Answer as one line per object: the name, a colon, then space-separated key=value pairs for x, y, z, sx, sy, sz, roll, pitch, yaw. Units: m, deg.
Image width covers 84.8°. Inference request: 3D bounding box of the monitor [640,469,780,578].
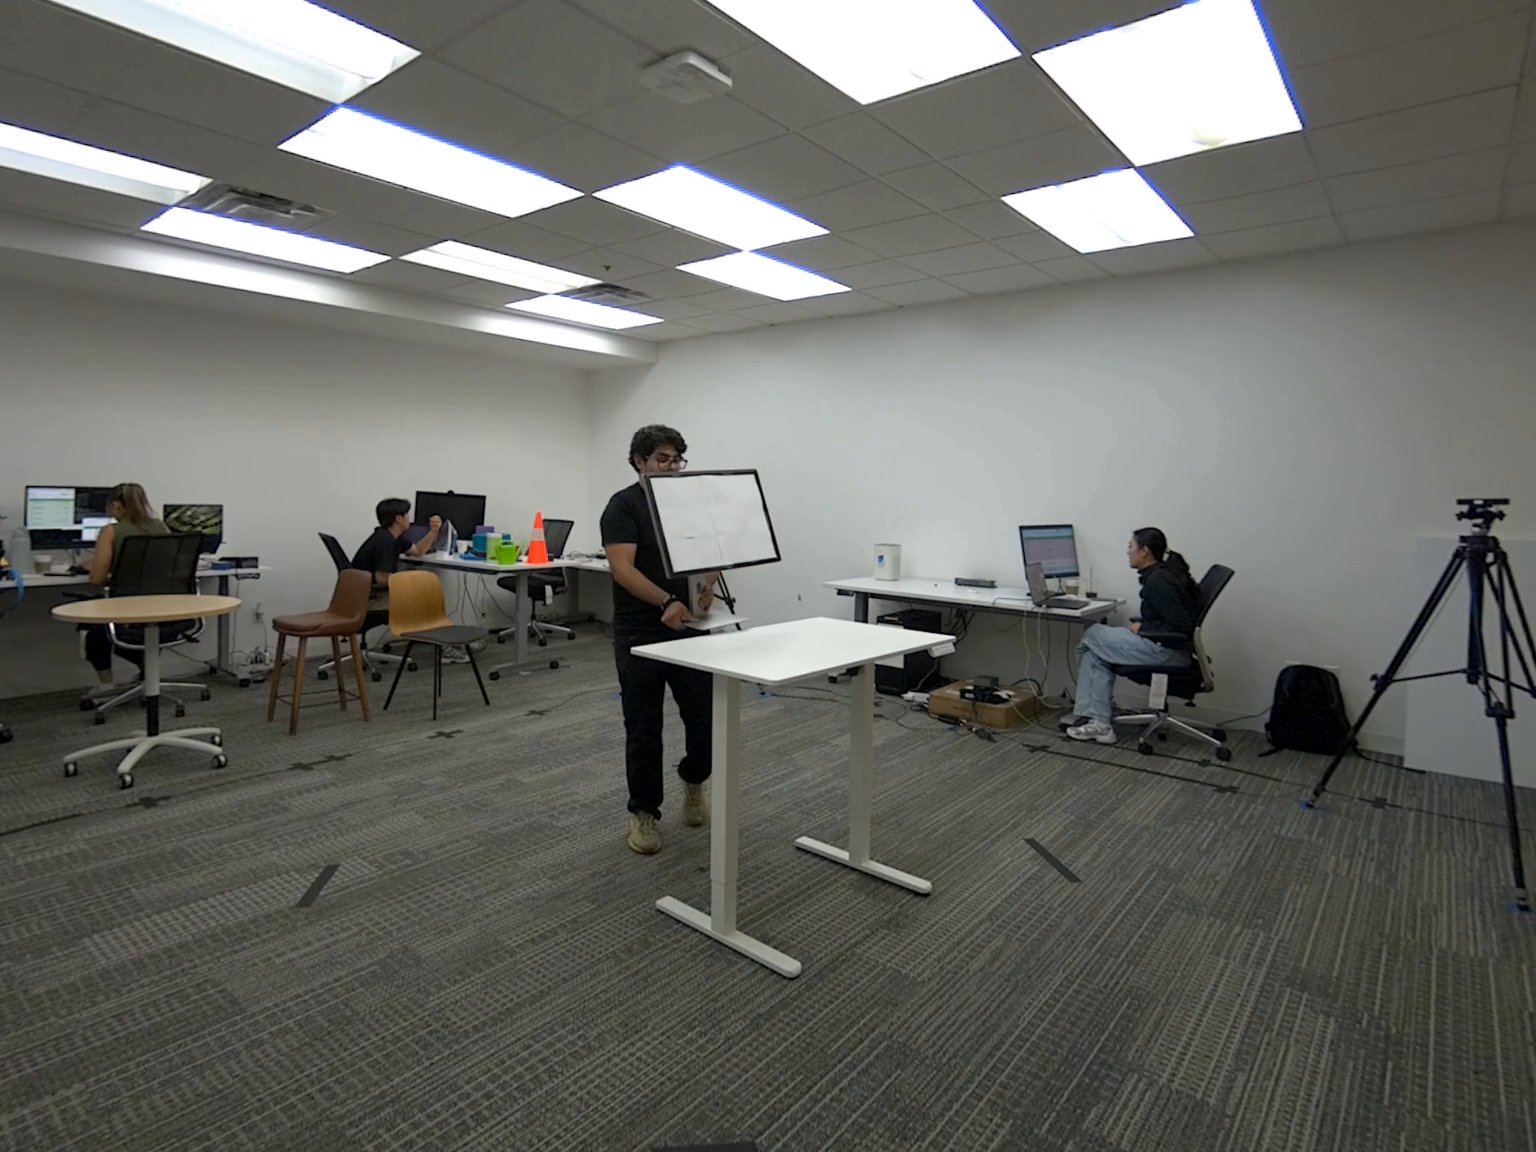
monitor: x=-0.239 y=-0.104 z=3.054 sx=0.215 sy=0.556 sz=0.550 roll=-12 pitch=-3 yaw=43
